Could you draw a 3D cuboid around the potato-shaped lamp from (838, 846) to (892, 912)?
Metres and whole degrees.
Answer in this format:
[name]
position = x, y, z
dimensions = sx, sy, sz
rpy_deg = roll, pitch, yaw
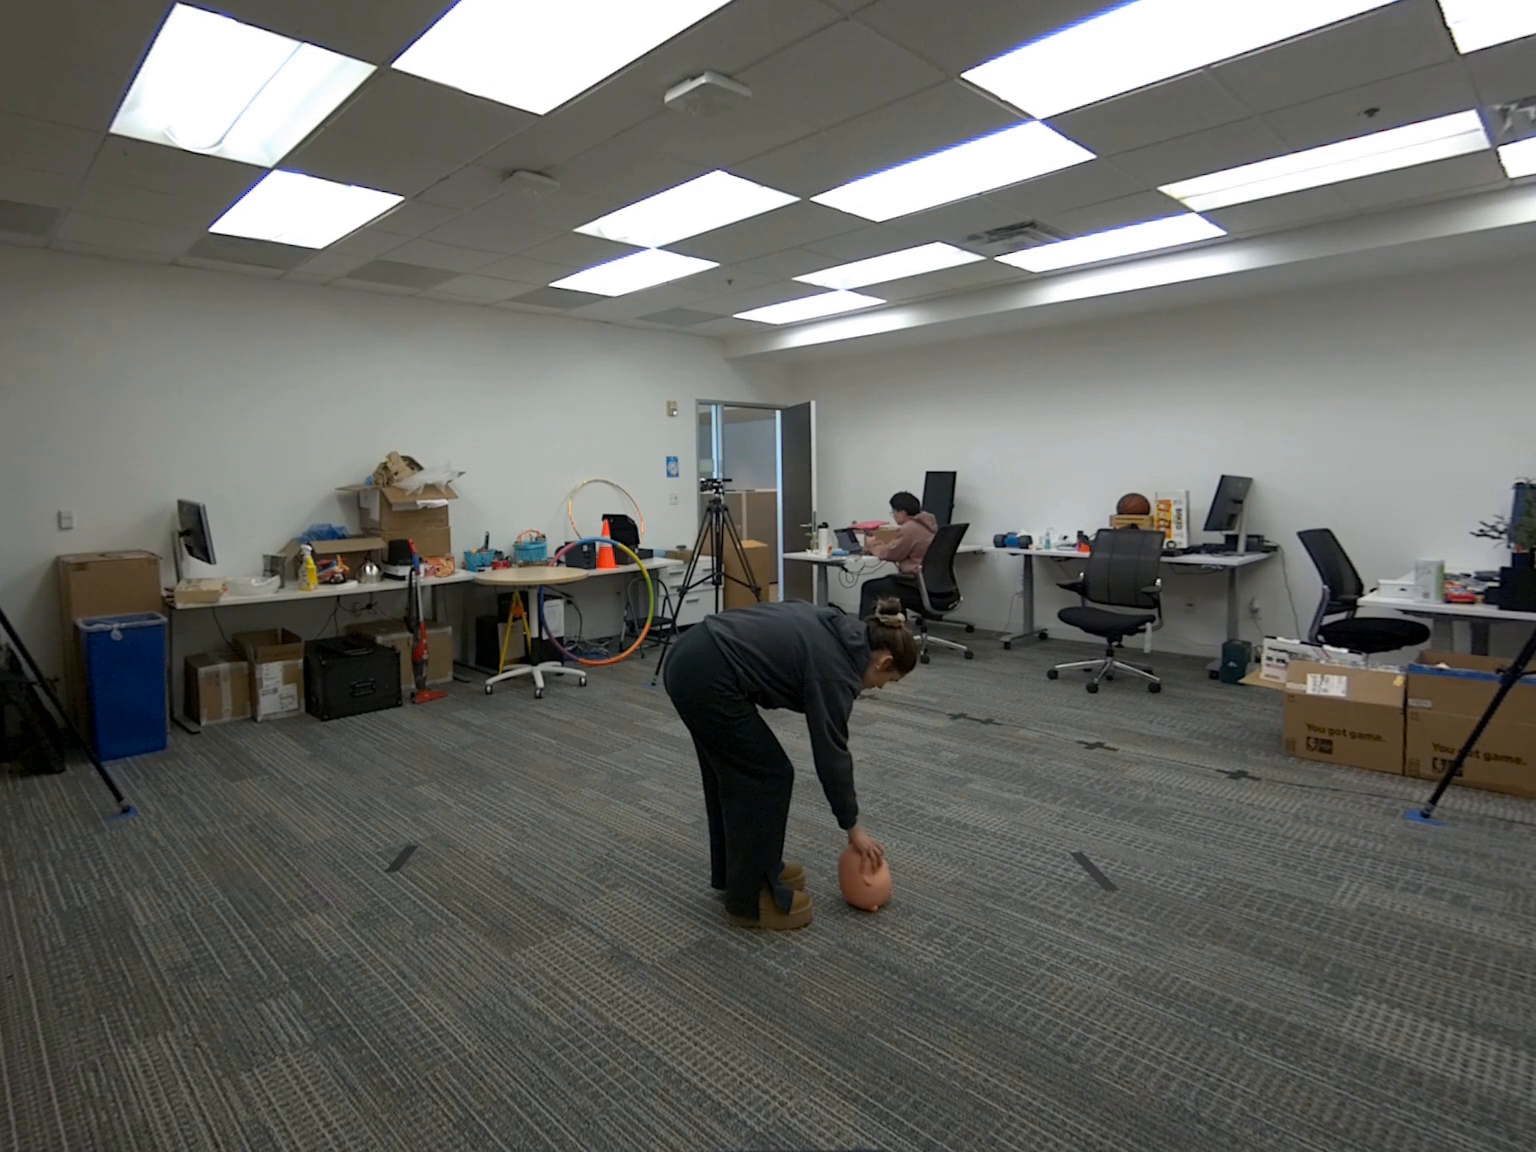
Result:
[potato-shaped lamp]
position = 0.313, 0.960, 2.776
dimensions = 0.176, 0.197, 0.161
rpy_deg = 0, 8, 30
